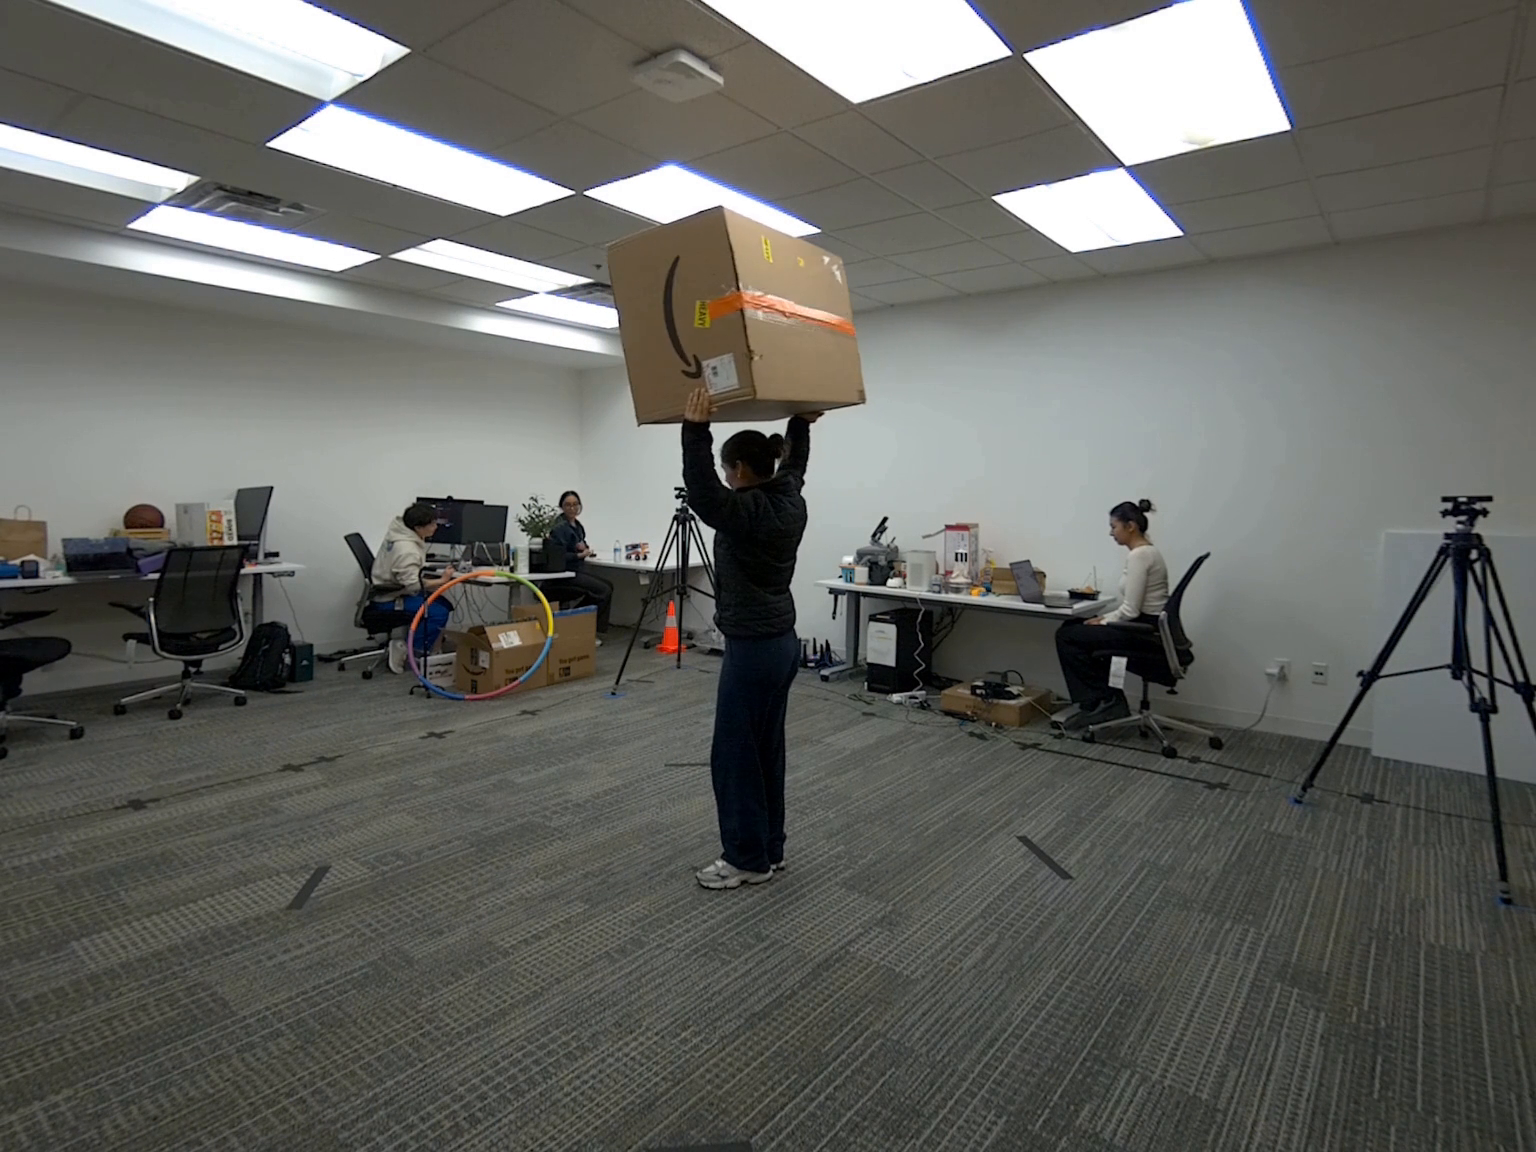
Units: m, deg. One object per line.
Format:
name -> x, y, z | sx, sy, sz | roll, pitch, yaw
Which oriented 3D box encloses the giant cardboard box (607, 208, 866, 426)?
giant cardboard box -> -0.051, -0.857, 3.011 | 0.457, 0.581, 1.009 | -6, 7, 27
